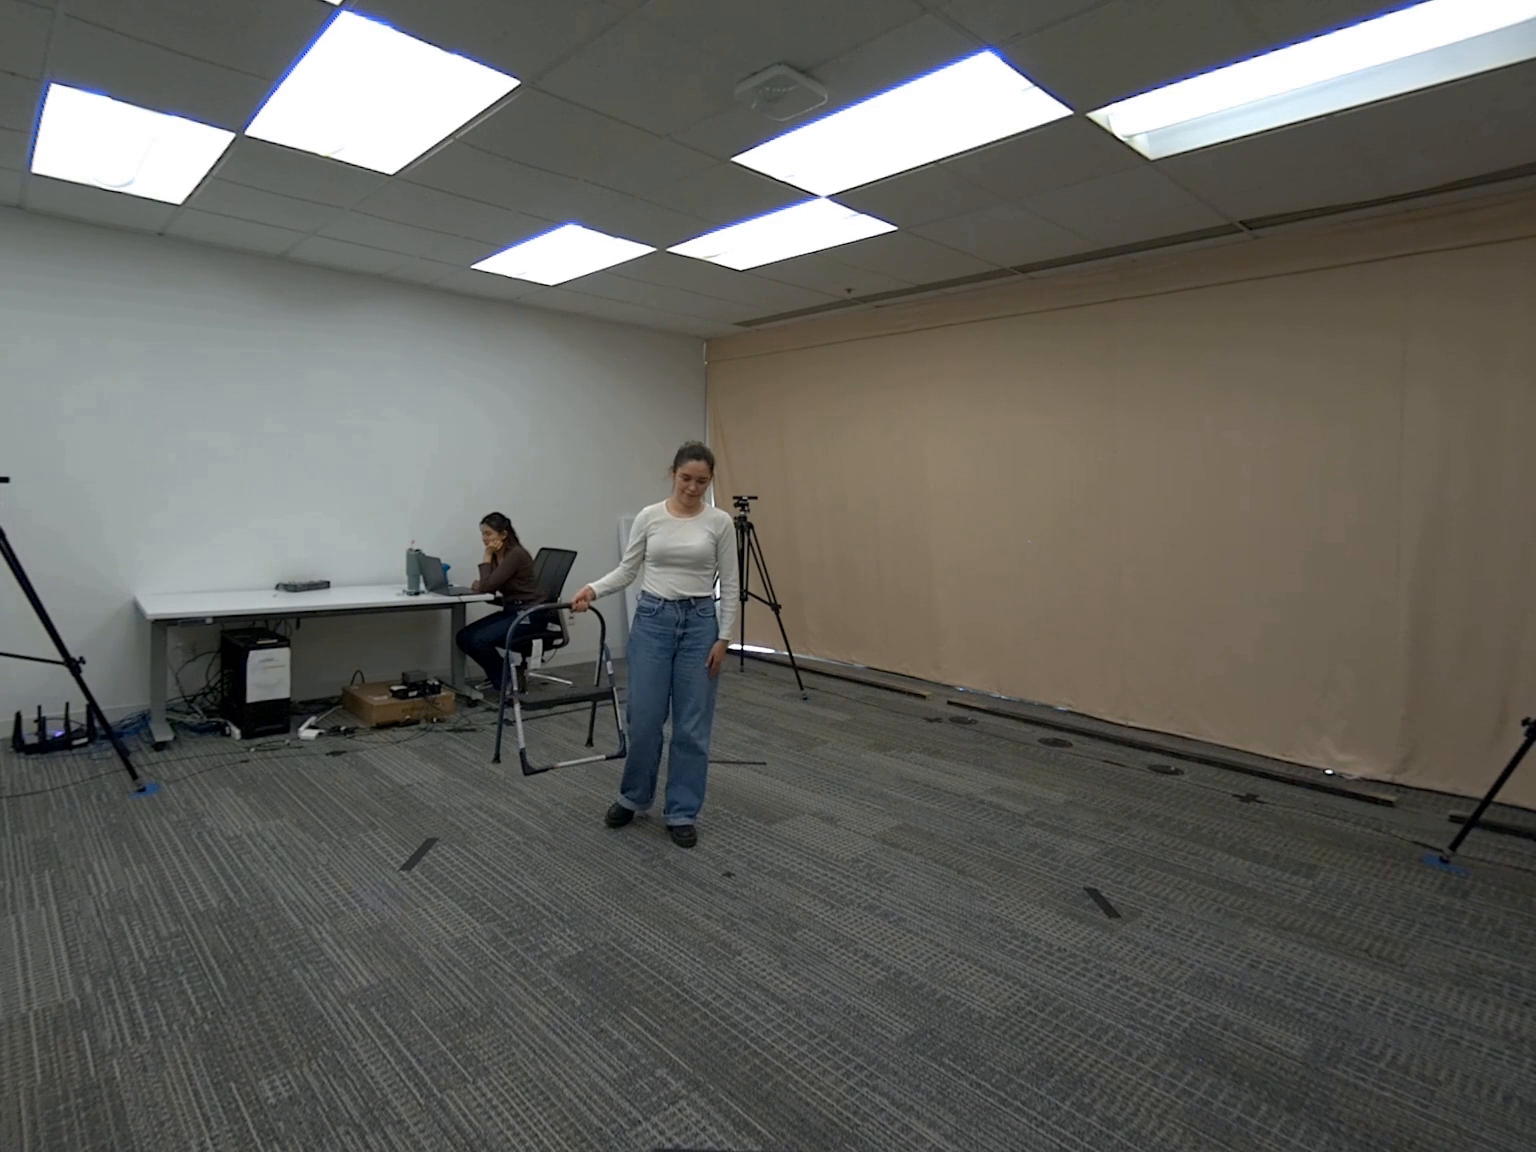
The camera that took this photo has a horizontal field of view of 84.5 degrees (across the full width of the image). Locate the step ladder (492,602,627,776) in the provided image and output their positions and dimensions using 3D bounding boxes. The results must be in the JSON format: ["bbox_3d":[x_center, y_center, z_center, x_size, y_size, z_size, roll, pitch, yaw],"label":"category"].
[{"bbox_3d":[-0.835,0.421,3.263,0.421,0.607,0.356,-3,-2,-37],"label":"step ladder"}]
